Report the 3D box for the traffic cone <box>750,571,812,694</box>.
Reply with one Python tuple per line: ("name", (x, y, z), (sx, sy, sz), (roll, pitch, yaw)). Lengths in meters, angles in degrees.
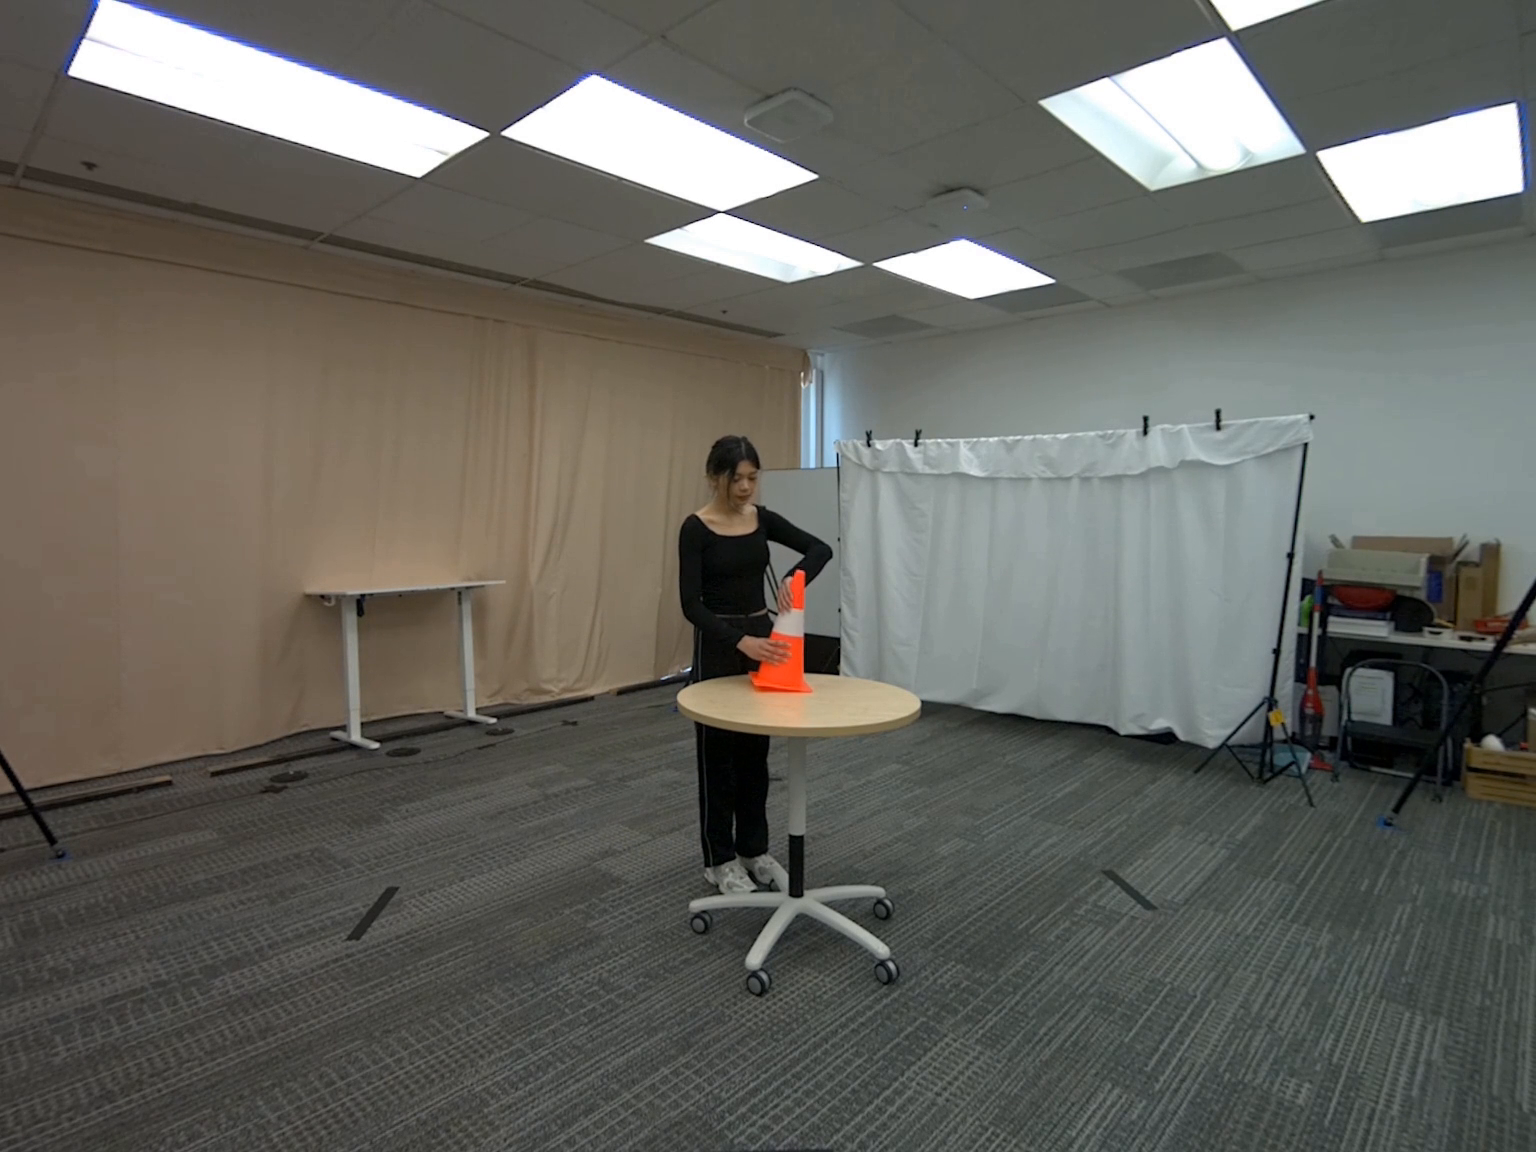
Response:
("traffic cone", (0.081, 0.174, 2.818), (0.204, 0.383, 0.205), (9, 3, -5))
